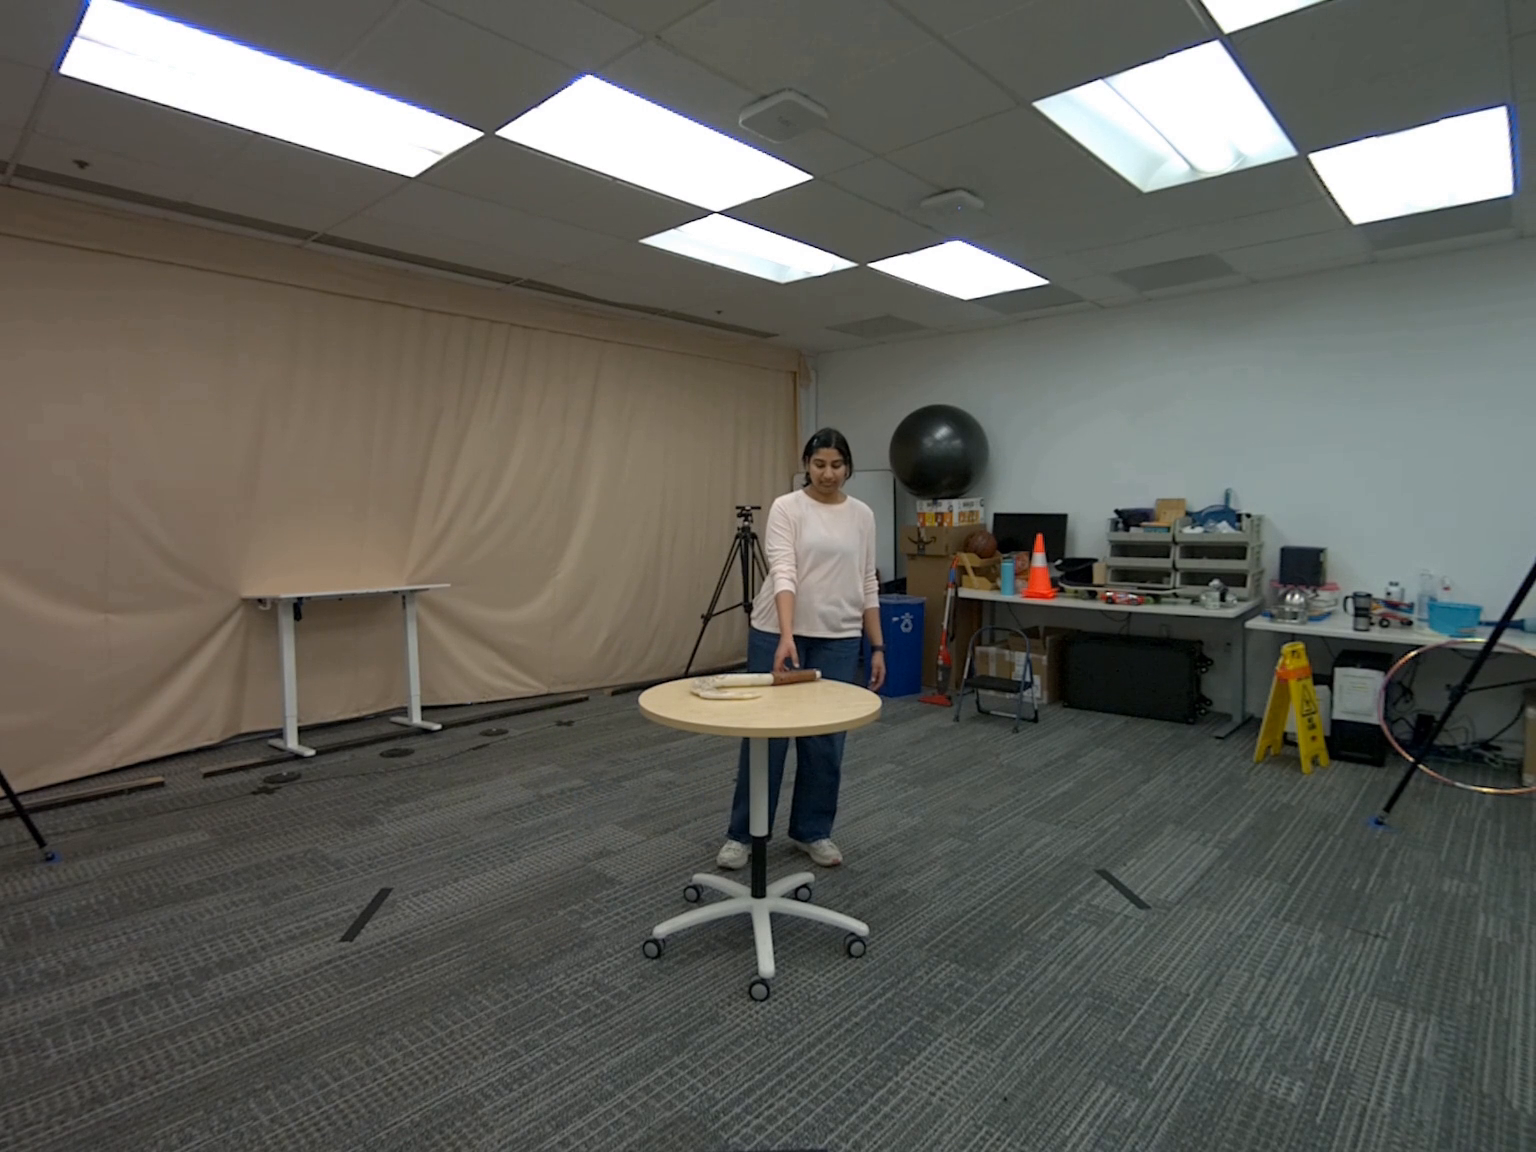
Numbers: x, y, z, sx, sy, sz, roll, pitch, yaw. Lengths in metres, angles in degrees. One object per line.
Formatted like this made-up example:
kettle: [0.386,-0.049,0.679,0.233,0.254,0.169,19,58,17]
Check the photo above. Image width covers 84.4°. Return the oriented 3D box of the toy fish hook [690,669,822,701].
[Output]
toy fish hook: [-0.007,0.368,2.792,0.495,0.048,0.231,-3,11,-25]
